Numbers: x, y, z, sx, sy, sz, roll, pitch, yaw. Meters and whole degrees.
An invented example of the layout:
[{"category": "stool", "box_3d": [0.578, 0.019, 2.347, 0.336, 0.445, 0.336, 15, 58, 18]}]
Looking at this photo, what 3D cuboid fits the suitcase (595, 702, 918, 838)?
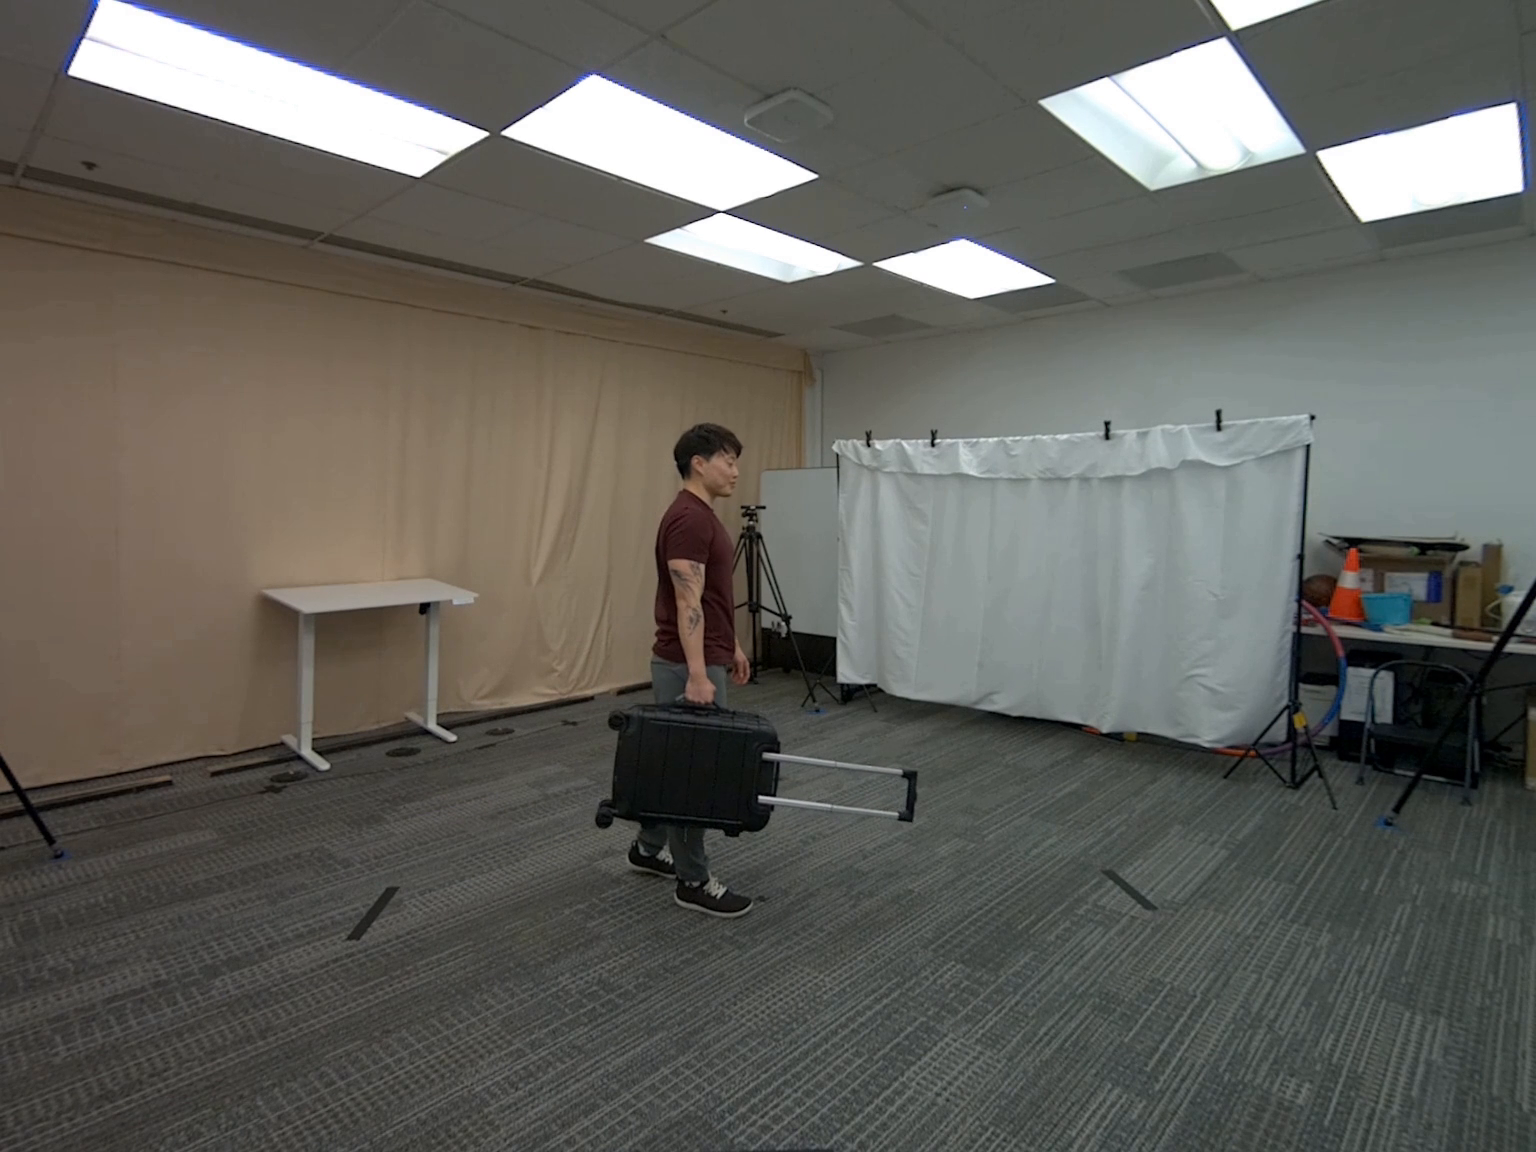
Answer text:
[{"category": "suitcase", "box_3d": [-0.035, 0.627, 2.693, 0.971, 0.385, 0.258, 6, -7, -7]}]
